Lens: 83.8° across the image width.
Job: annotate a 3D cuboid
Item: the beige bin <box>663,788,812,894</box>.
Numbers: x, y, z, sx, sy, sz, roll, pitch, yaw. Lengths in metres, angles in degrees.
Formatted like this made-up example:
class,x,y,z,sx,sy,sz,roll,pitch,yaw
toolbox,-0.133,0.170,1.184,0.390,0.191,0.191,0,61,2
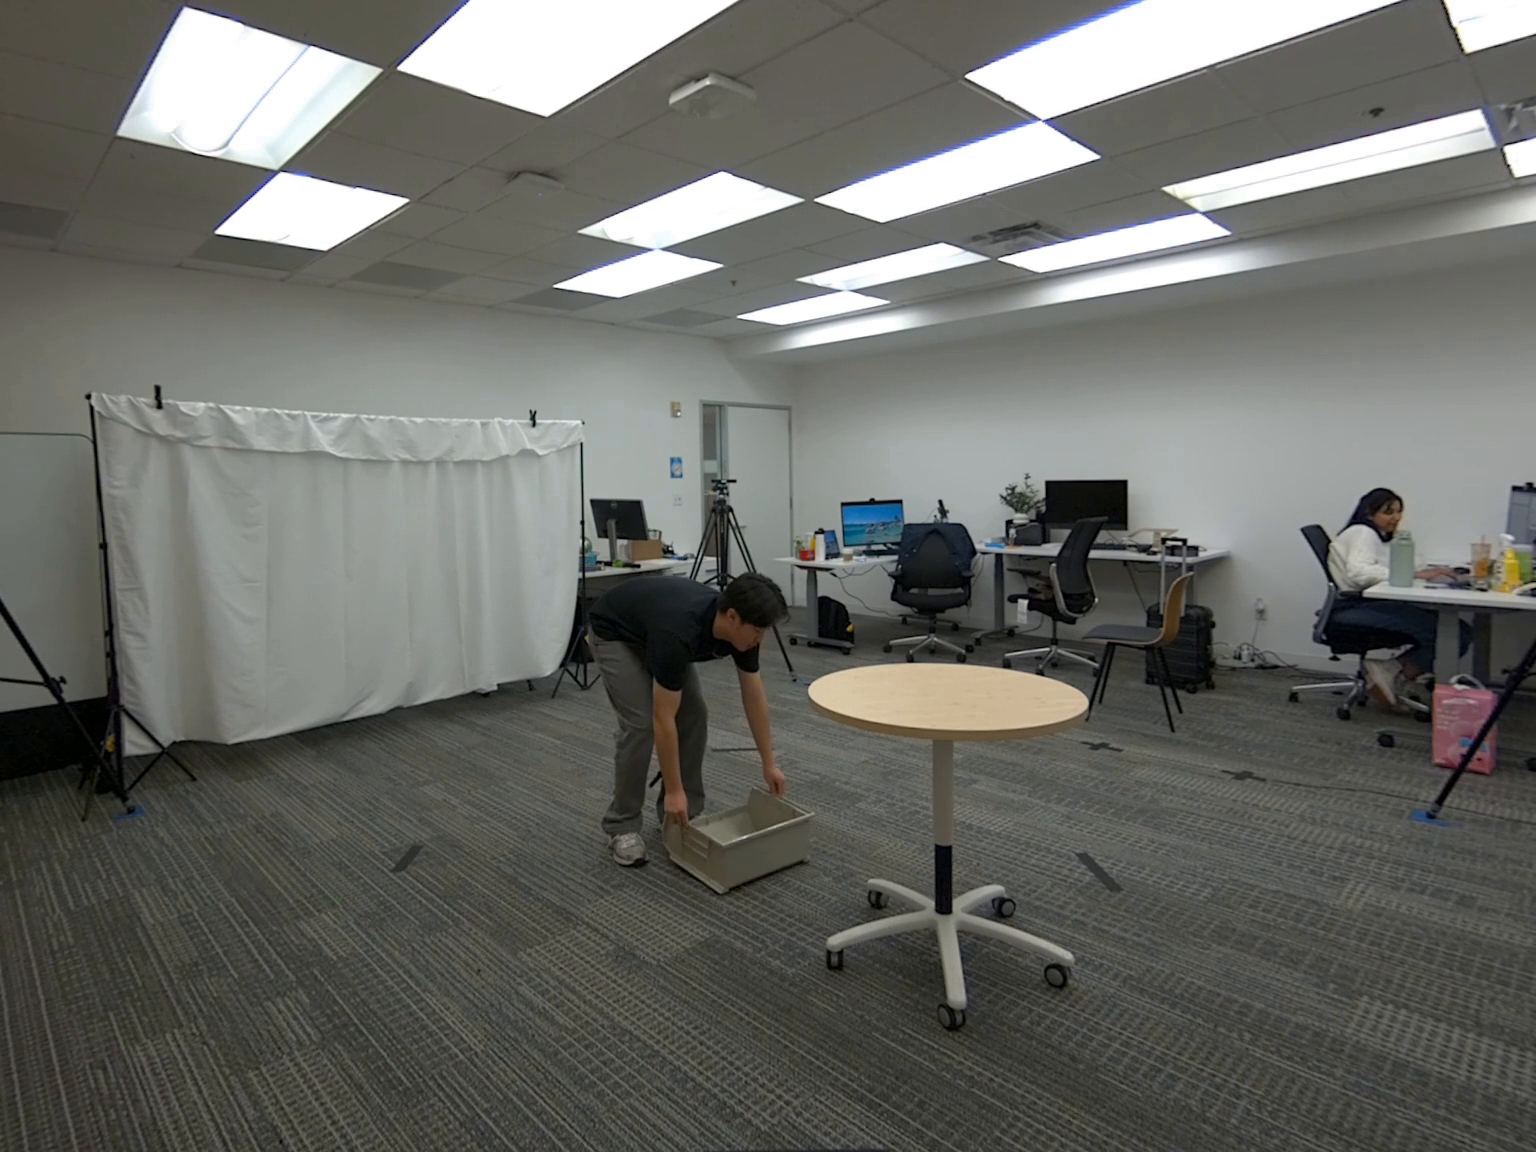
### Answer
class,x,y,z,sx,sy,sz,roll,pitch,yaw
beige bin,-0.111,0.925,3.114,0.411,0.187,0.390,-5,12,-39
